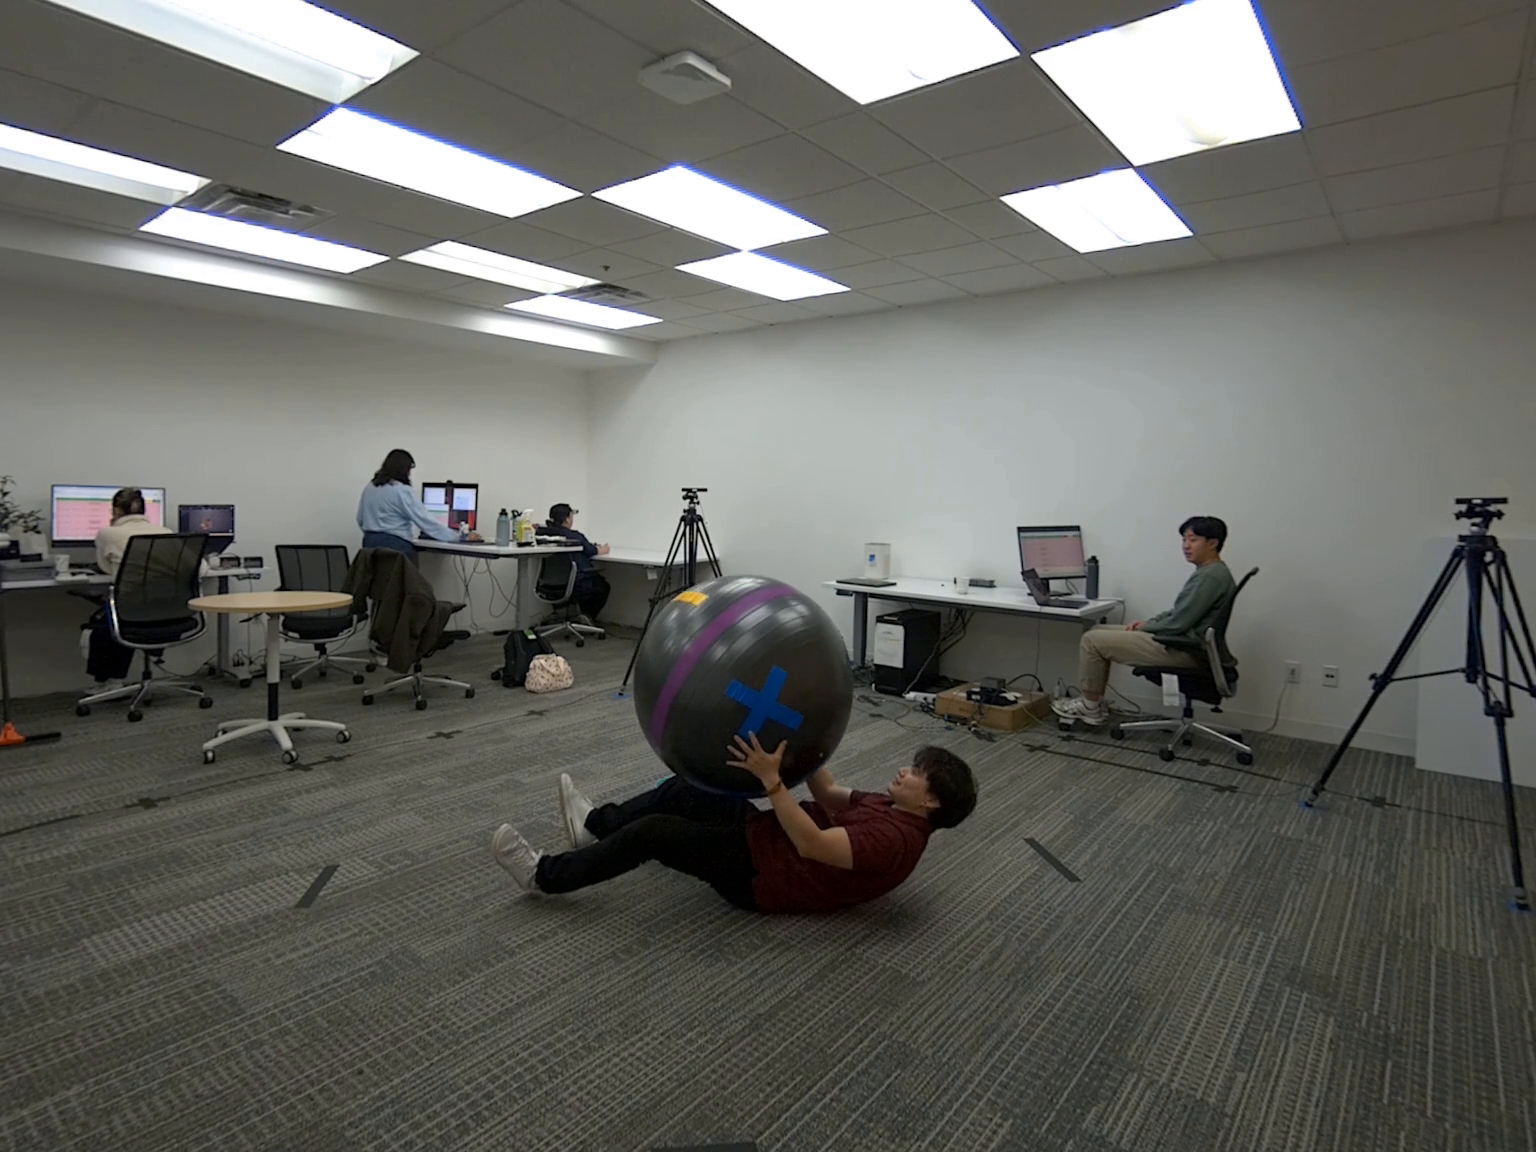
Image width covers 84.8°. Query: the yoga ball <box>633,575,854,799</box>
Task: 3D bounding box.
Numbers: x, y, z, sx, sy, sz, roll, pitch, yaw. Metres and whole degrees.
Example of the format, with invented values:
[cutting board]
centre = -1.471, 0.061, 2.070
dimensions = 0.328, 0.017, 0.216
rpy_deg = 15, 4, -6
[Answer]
[yoga ball]
centre = -0.096, 0.377, 2.939
dimensions = 0.757, 0.755, 0.762
rpy_deg = 1, 4, -2
